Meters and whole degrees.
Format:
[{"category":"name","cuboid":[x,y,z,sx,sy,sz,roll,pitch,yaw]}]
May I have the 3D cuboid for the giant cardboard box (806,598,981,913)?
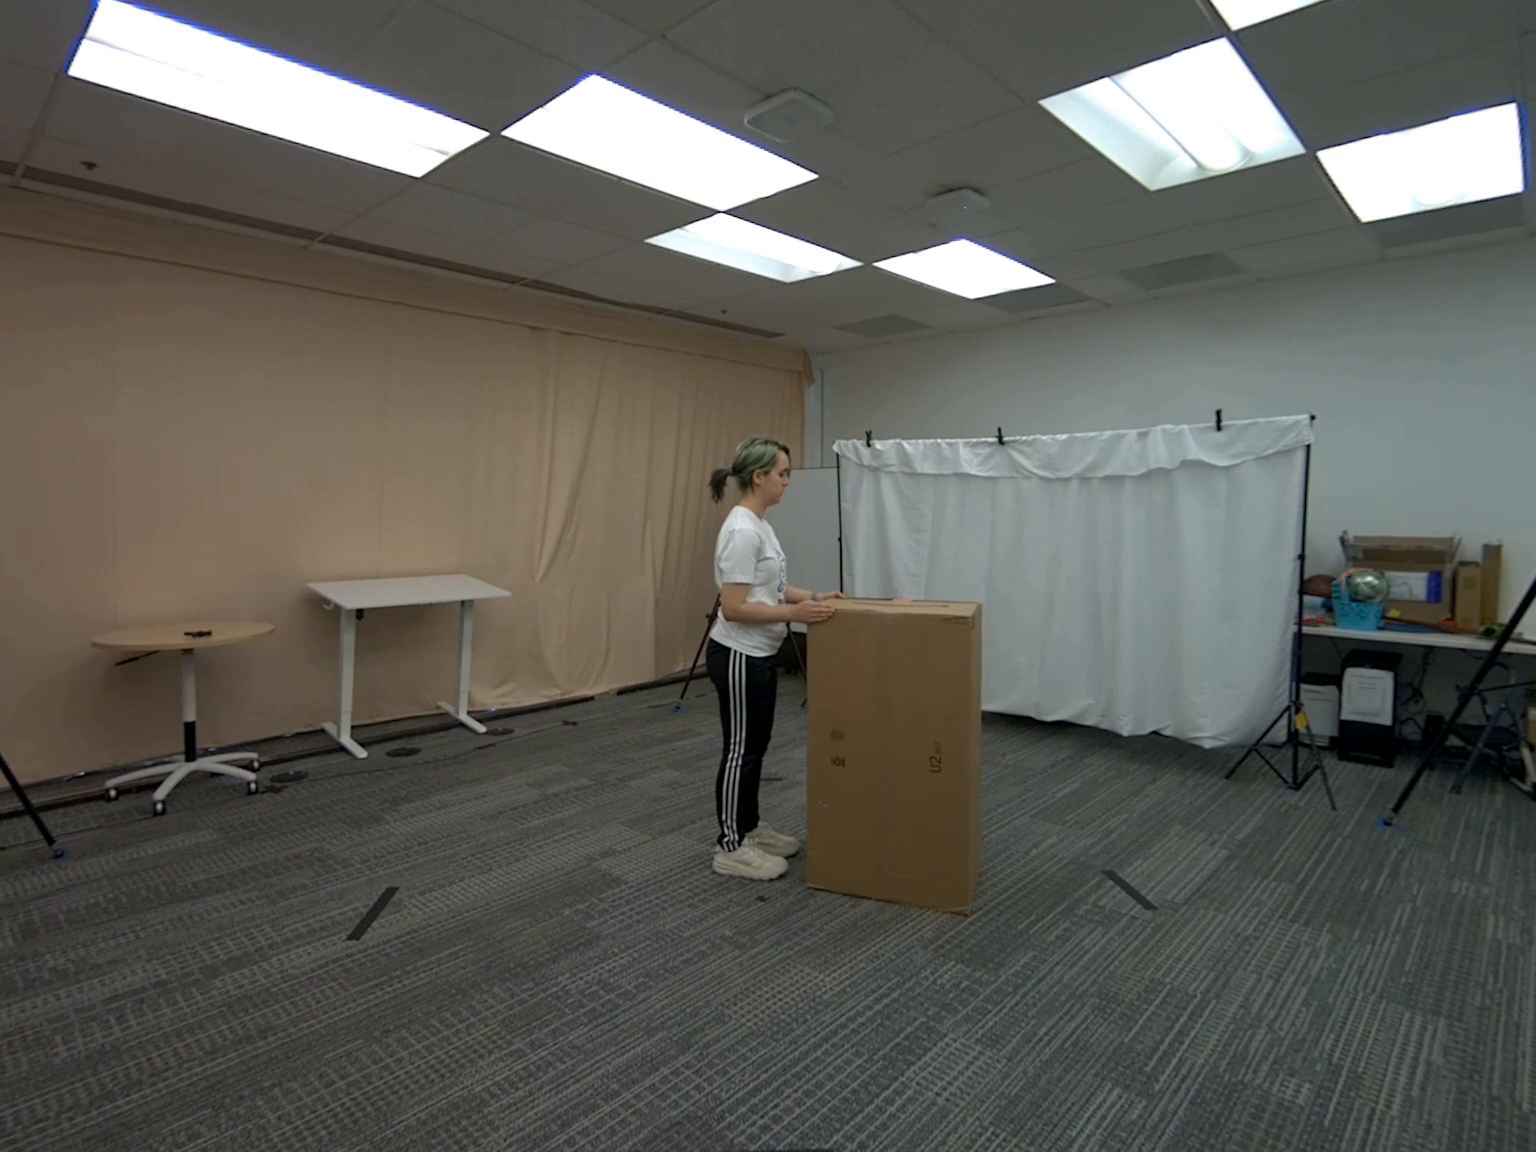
[{"category":"giant cardboard box","cuboid":[0.481,0.624,3.124,0.591,1.024,0.417,1,3,21]}]
